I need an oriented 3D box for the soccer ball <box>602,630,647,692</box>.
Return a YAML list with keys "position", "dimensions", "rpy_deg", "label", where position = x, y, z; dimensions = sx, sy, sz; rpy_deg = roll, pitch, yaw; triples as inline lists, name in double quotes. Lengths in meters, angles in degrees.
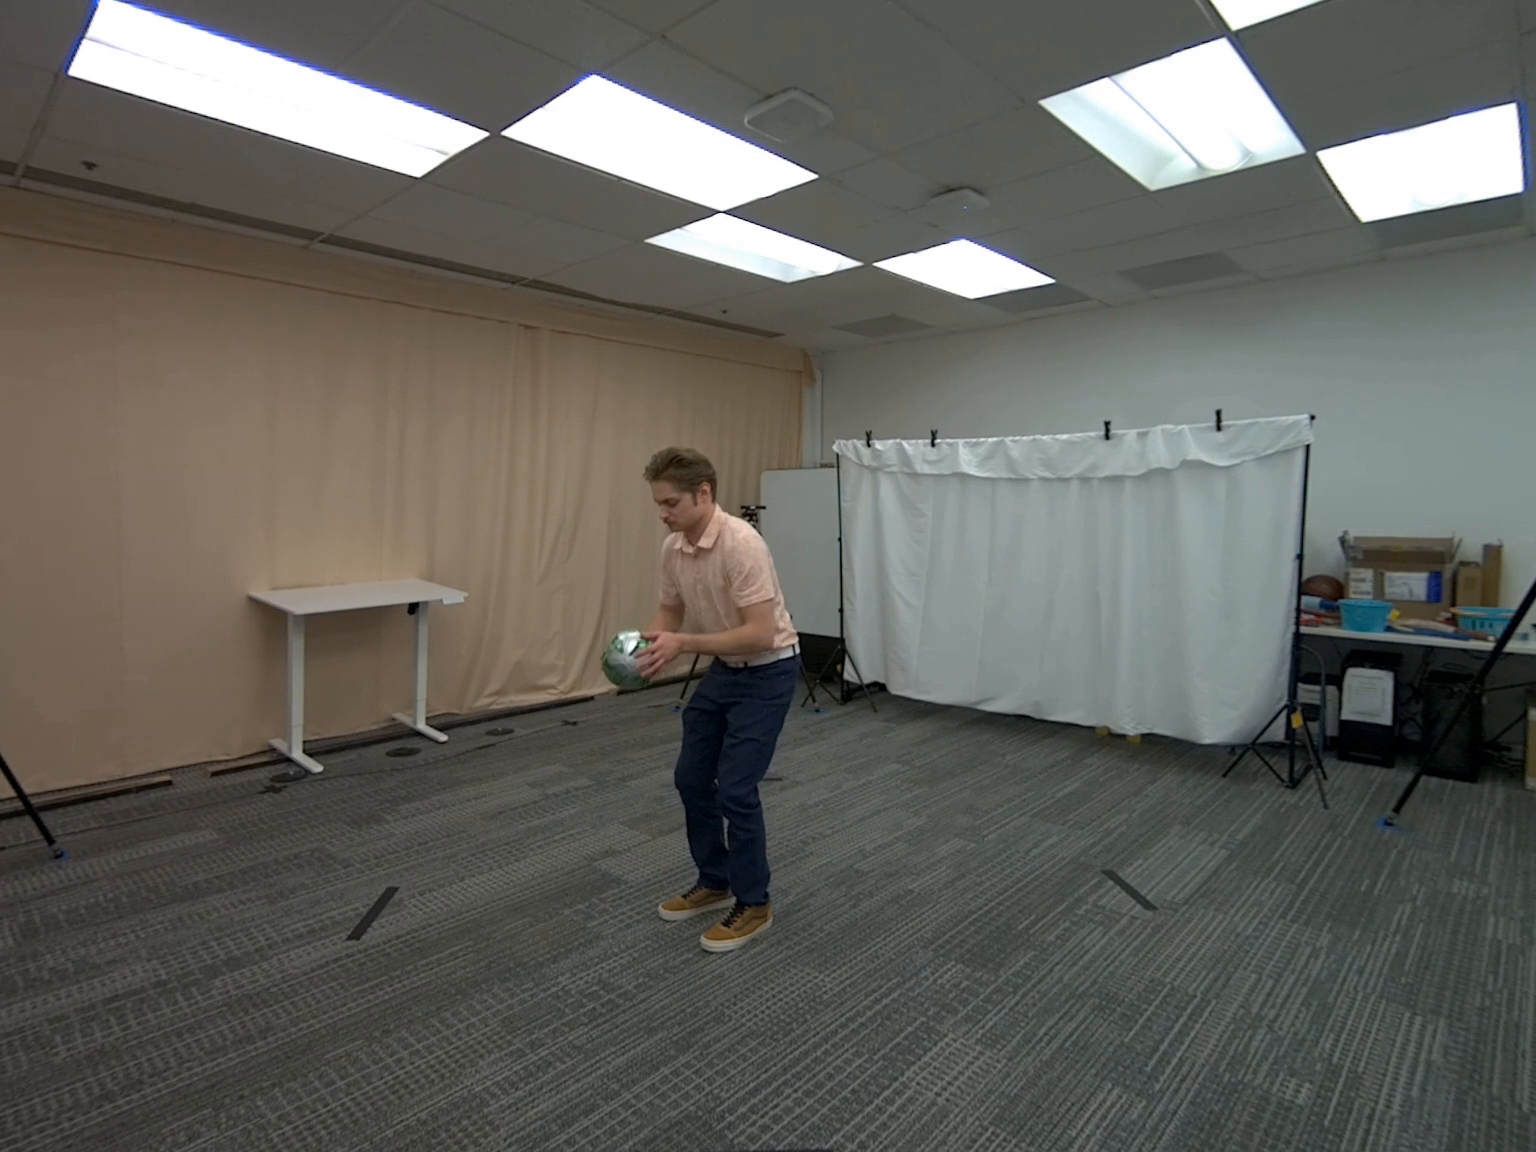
- position: [-0.417, 0.267, 2.595]
  dimensions: [0.187, 0.187, 0.188]
  rpy_deg: [0, 4, -2]
  label: "soccer ball"
